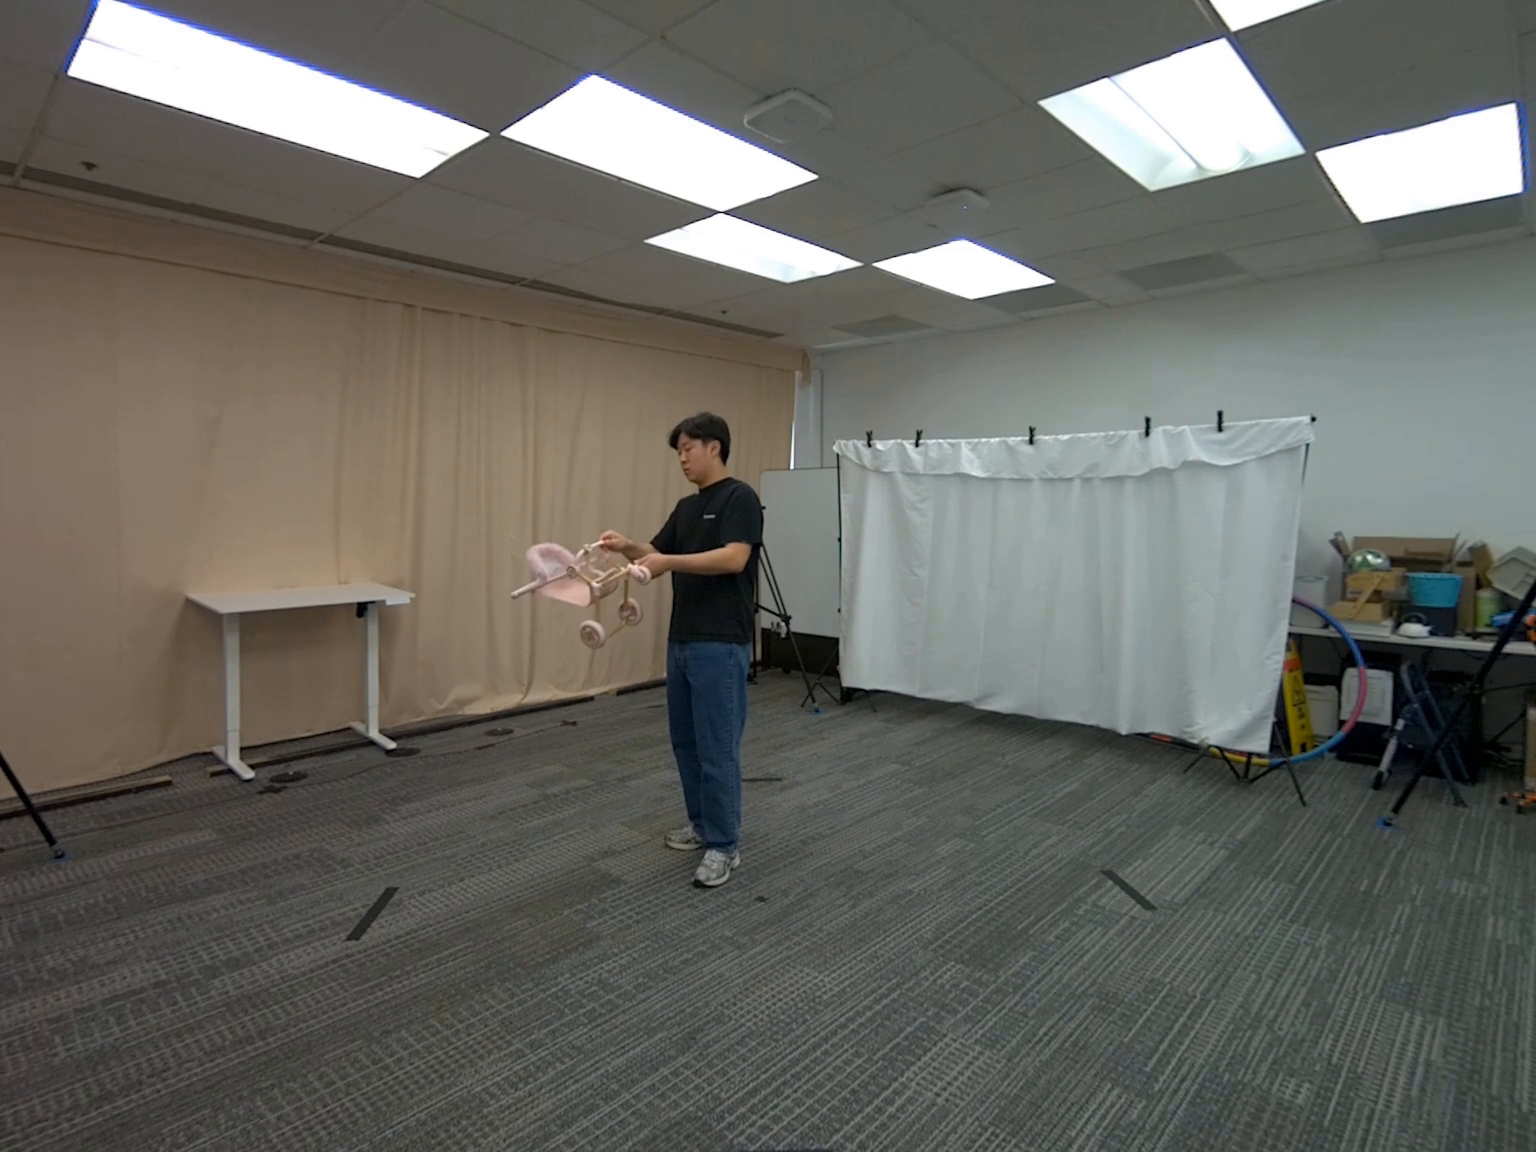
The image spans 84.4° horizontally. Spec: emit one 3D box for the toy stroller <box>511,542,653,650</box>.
[{"bbox_3d":[-0.681,0.030,3.106,0.547,0.338,0.277,24,28,18],"label":"toy stroller"}]
